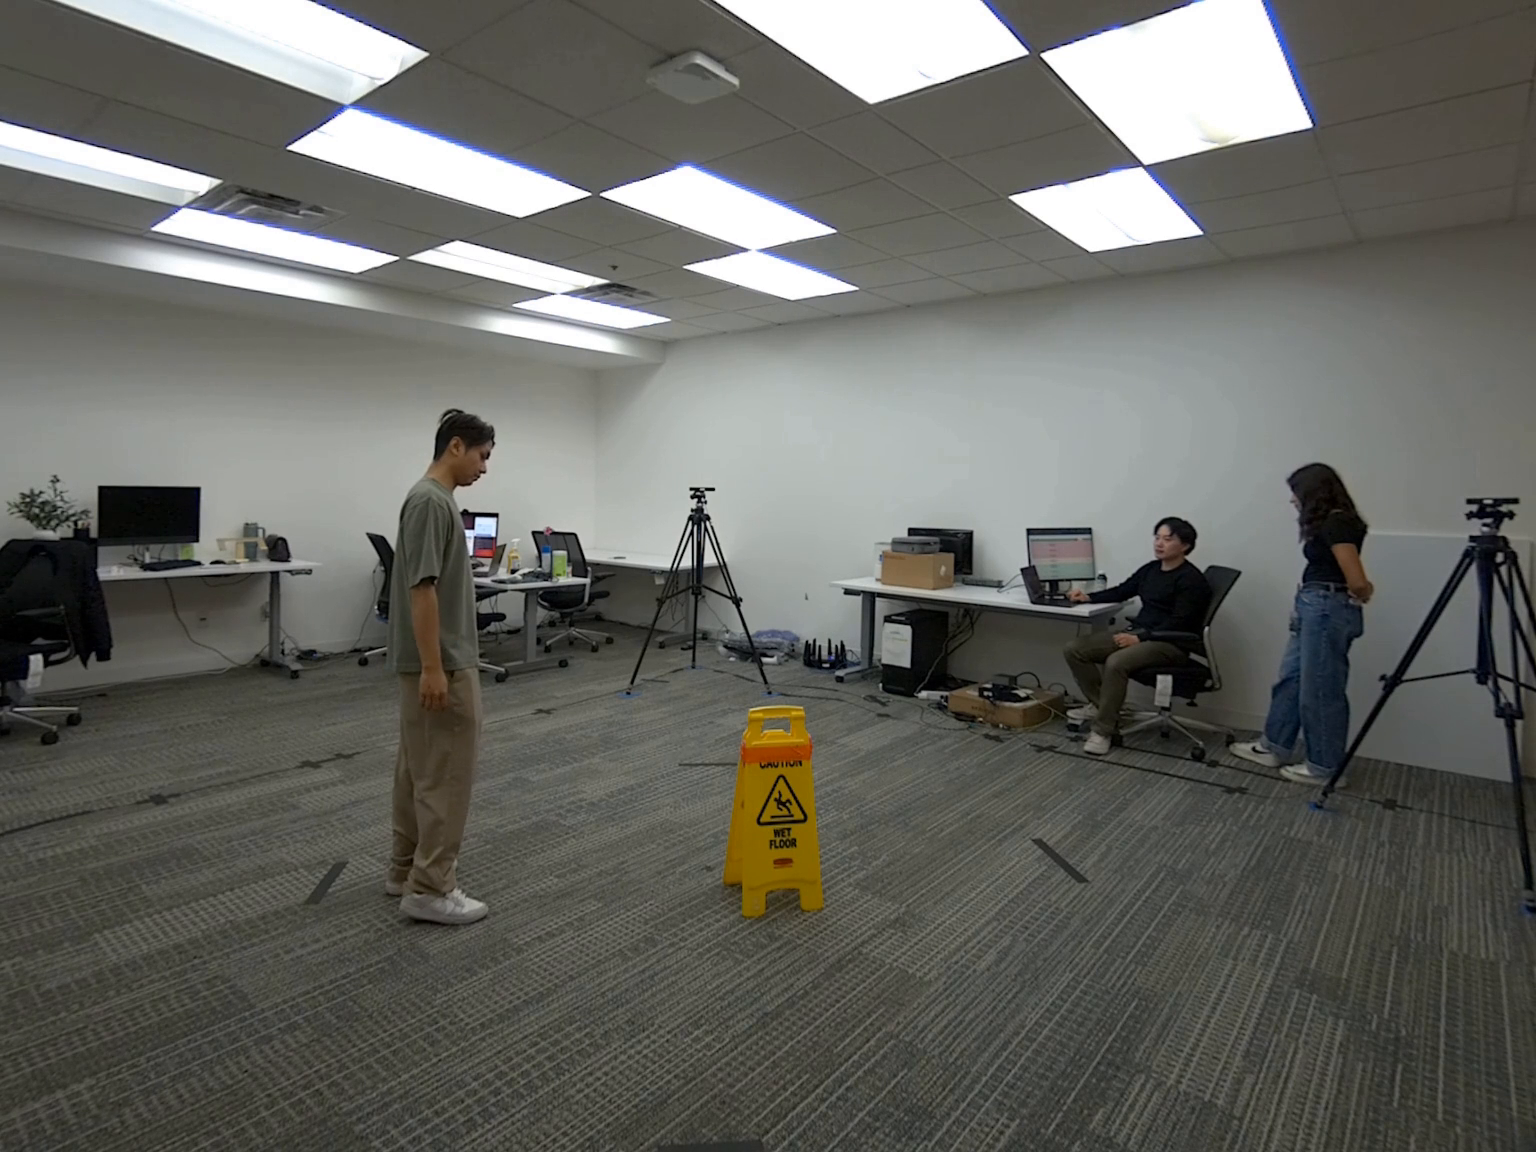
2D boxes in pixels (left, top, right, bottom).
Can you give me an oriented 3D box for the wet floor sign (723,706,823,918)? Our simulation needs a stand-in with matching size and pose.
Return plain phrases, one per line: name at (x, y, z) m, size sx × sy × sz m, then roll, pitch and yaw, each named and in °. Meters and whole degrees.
wet floor sign at (0.016, 0.769, 2.887) m, size 0.278 × 0.644 × 0.295 m, roll 1°, pitch 4°, yaw -16°
